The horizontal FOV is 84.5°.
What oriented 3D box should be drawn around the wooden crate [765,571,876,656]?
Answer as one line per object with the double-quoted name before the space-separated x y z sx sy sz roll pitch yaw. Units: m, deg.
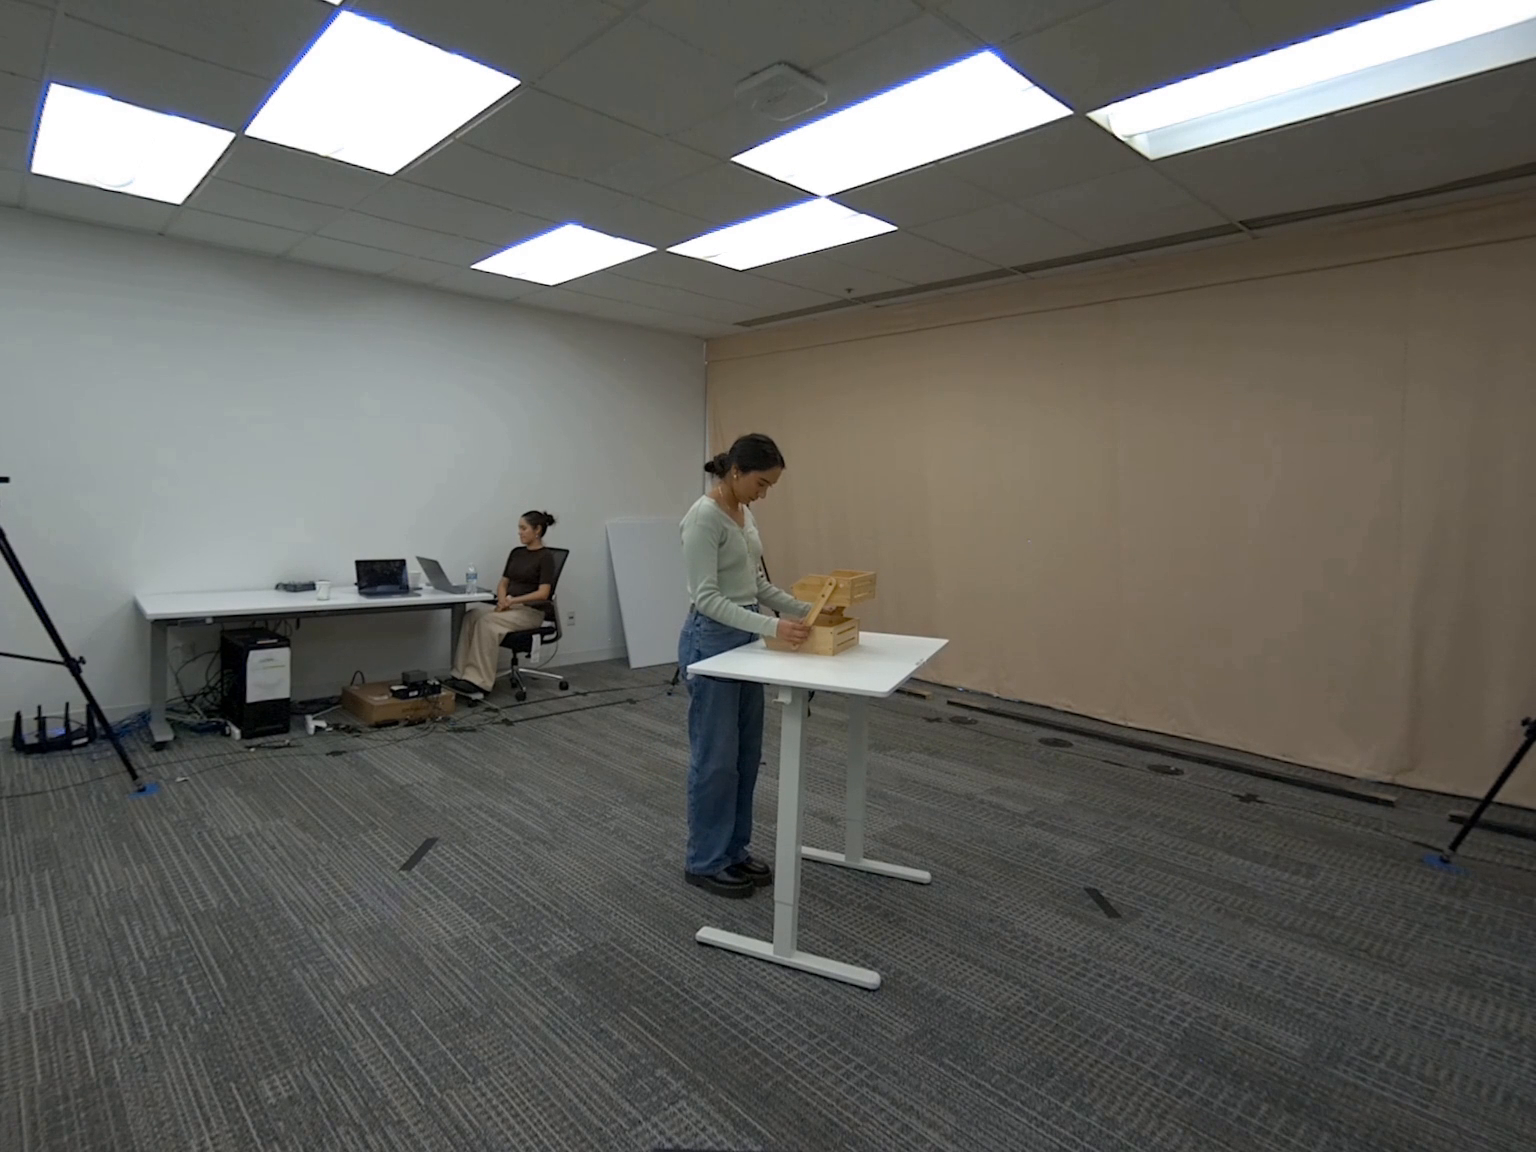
"wooden crate" 0.170 0.113 2.902 0.308 0.272 0.319 5 5 24
